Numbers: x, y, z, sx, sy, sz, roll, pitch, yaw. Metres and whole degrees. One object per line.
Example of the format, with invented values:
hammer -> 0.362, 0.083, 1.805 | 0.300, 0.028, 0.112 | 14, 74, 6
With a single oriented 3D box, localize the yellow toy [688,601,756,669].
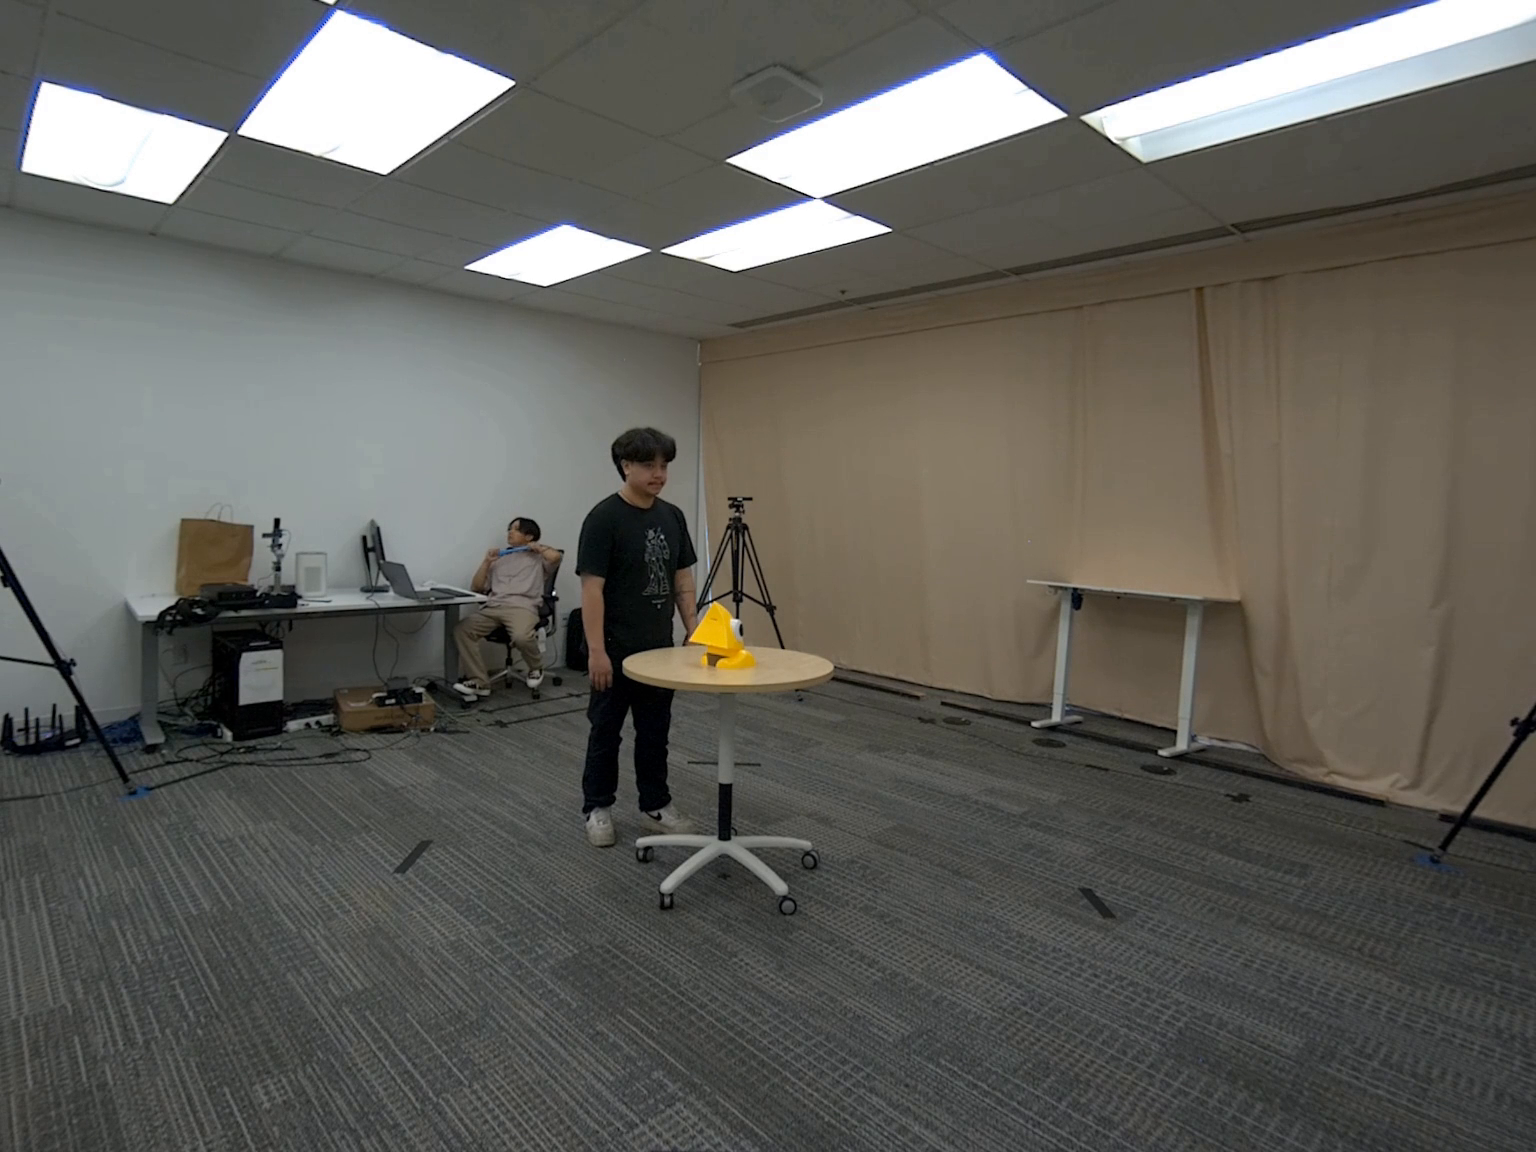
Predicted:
yellow toy -> -0.157, 0.206, 3.042 | 0.188, 0.230, 0.210 | -2, 4, -45
